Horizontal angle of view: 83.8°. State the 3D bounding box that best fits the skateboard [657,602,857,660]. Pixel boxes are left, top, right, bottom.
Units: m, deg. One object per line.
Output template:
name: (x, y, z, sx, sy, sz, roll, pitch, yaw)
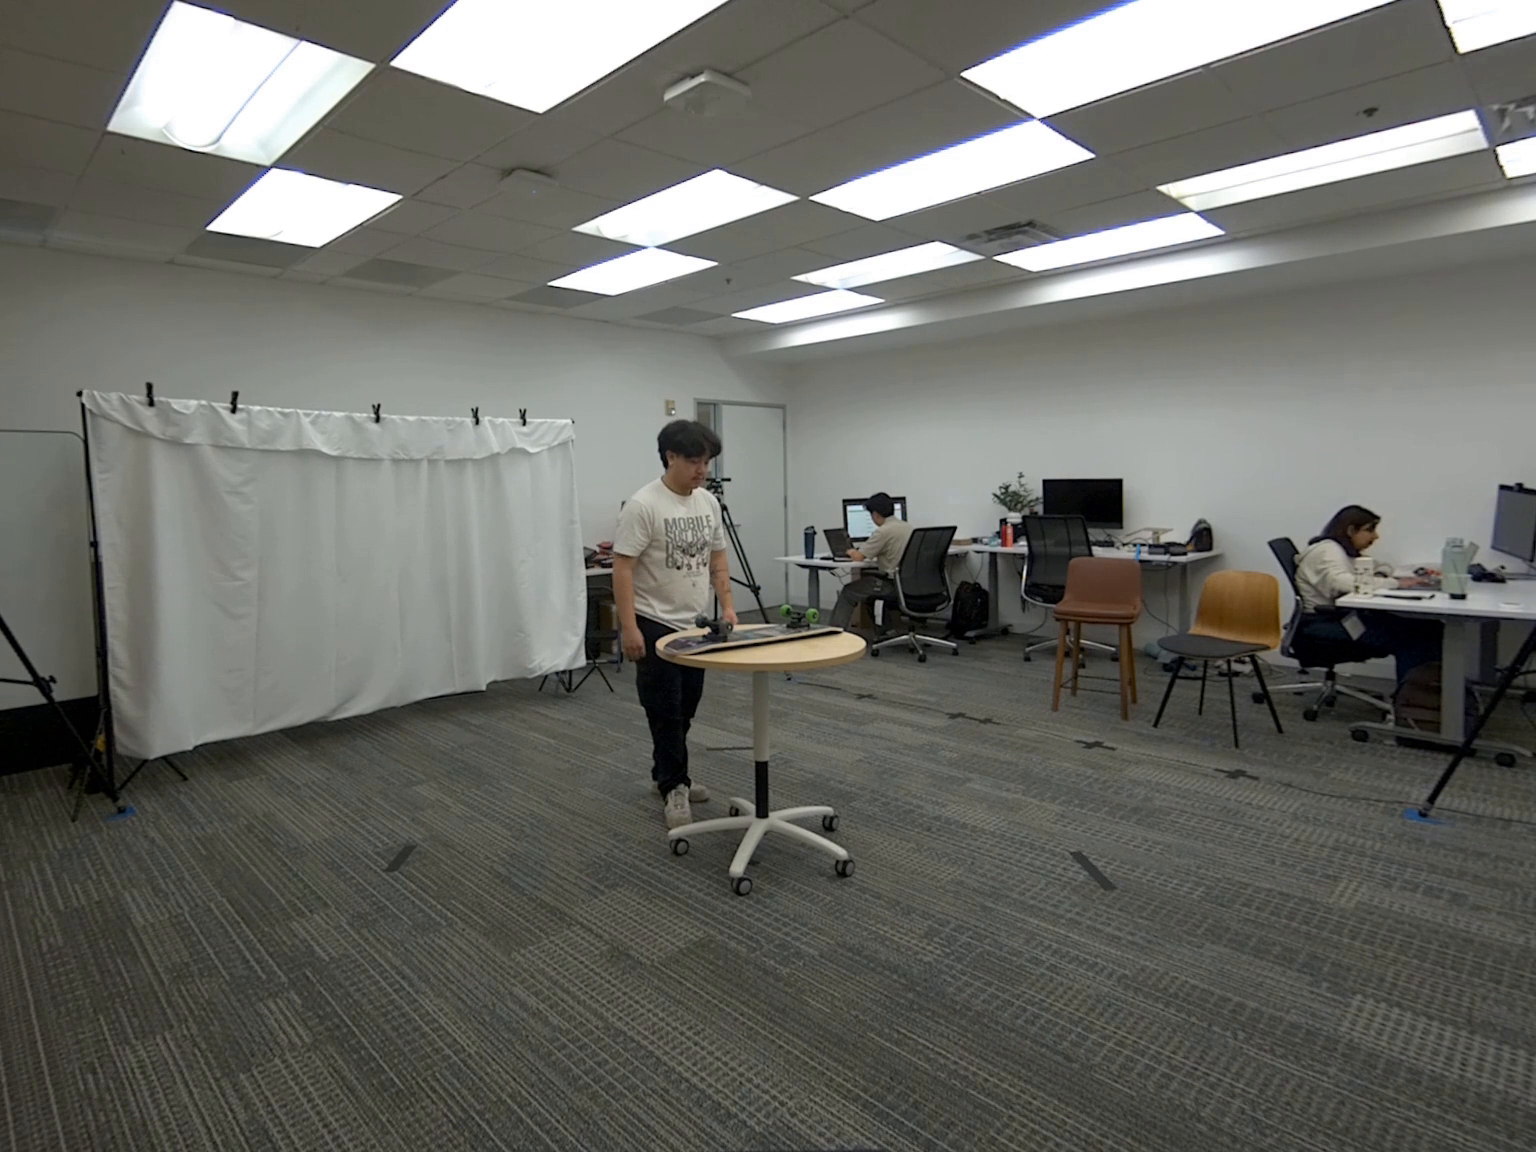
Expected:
skateboard: (-0.038, 0.190, 3.148, 0.766, 0.110, 0.199, -5, 5, -34)
